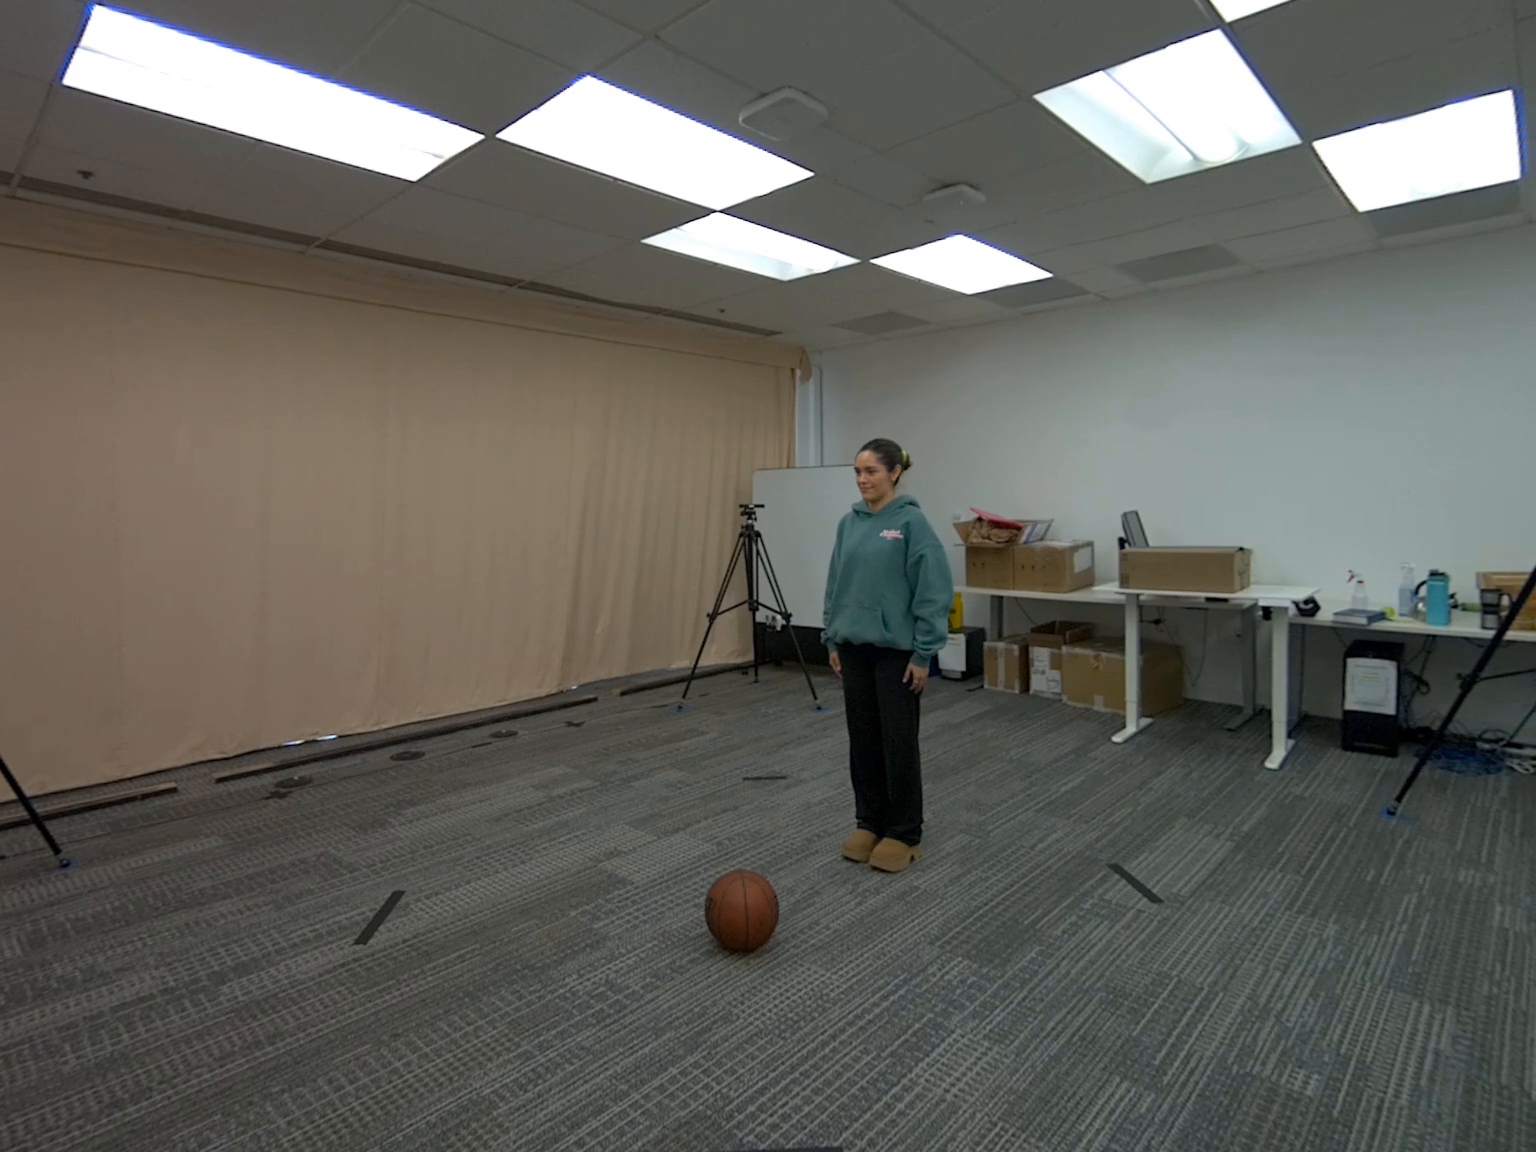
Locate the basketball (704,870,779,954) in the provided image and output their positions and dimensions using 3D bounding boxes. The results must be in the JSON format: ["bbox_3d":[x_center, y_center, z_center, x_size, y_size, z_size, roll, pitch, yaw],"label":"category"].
[{"bbox_3d":[-0.080,1.049,2.651,0.236,0.235,0.237,-1,4,-2],"label":"basketball"}]
